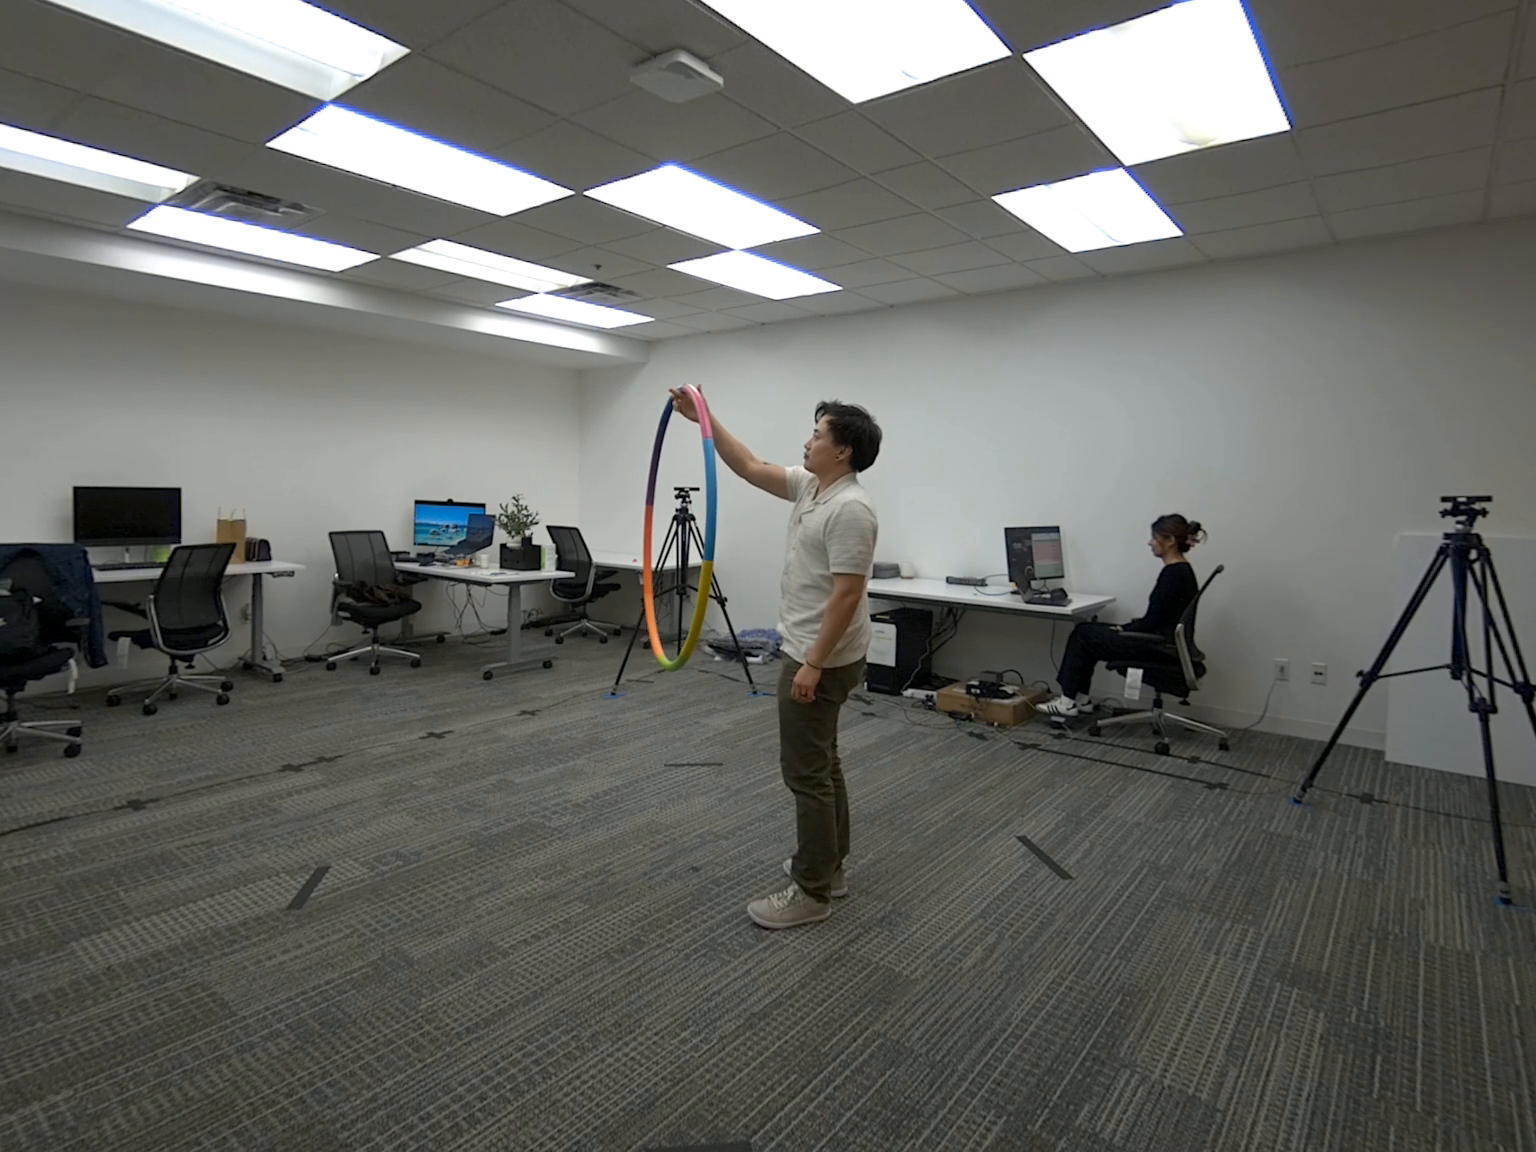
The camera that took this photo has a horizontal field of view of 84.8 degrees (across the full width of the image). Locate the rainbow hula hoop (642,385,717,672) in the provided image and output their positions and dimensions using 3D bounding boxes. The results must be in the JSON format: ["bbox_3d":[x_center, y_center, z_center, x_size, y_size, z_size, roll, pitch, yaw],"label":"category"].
[{"bbox_3d":[-0.335,-0.171,2.970,0.035,0.976,1.000,1,4,-20],"label":"rainbow hula hoop"}]
